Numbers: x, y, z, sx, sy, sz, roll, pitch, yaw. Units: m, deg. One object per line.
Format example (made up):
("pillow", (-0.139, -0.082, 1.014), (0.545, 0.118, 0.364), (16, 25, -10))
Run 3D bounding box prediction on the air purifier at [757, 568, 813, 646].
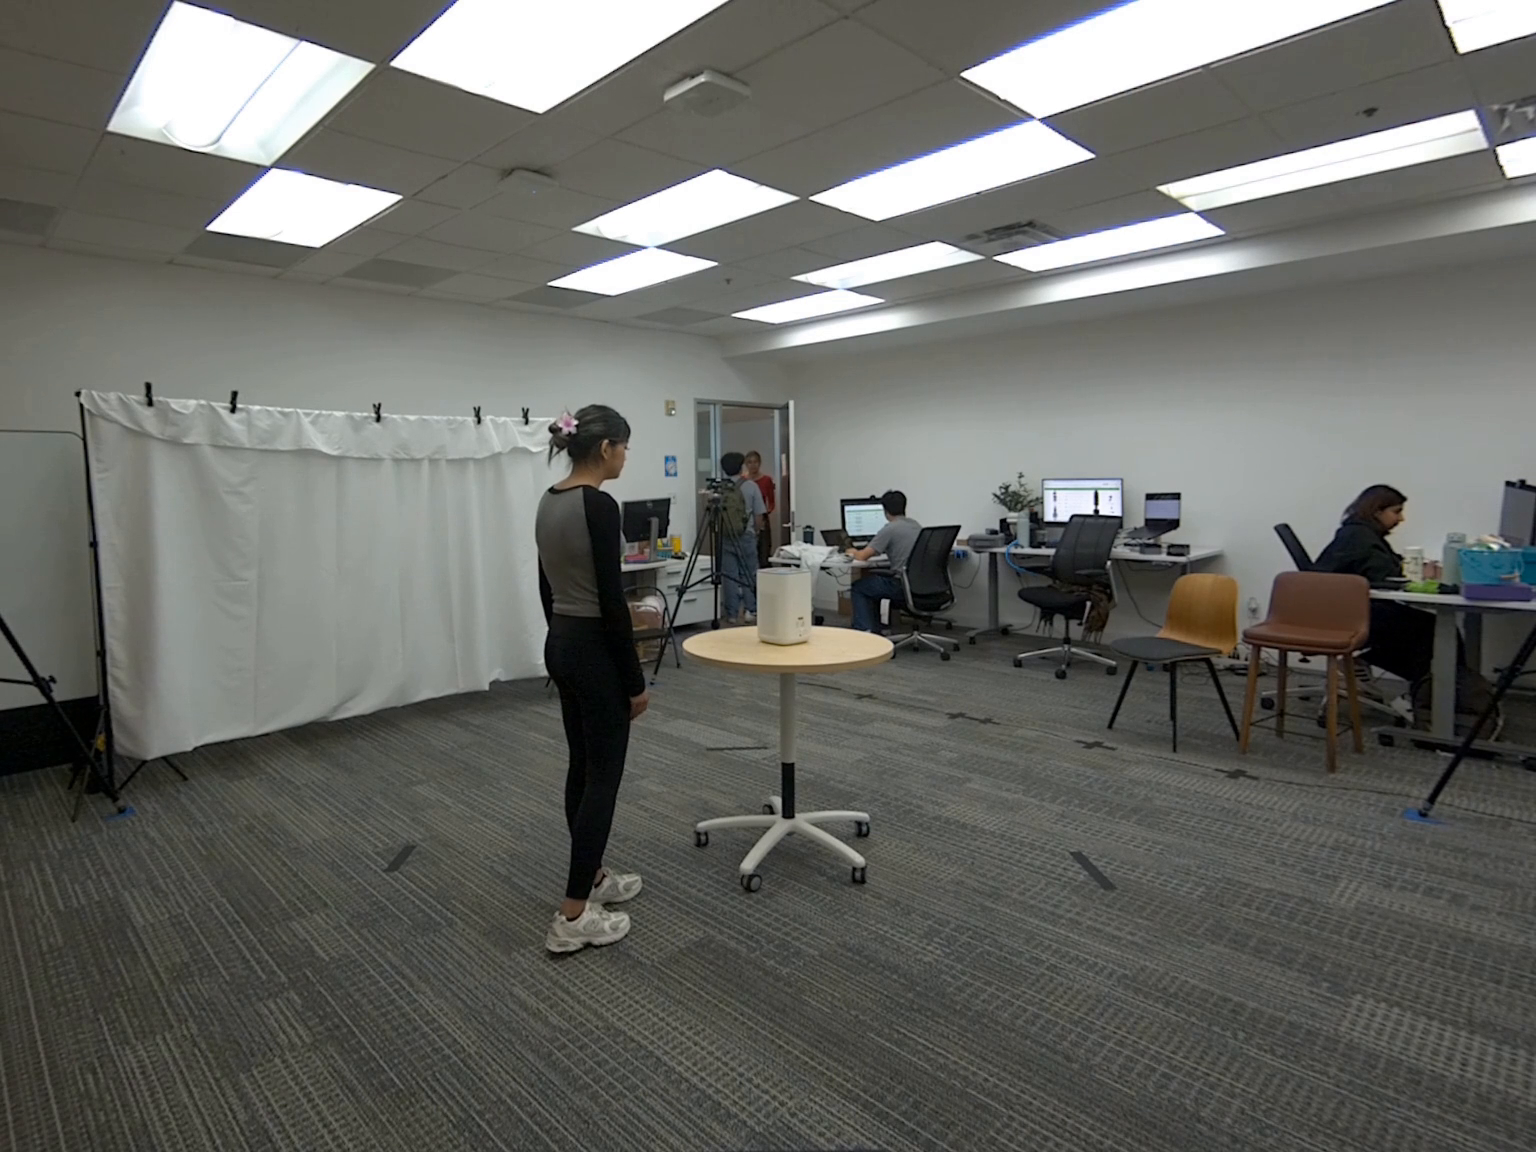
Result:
("air purifier", (0.059, 0.107, 3.146), (0.166, 0.264, 0.177), (-4, 6, -42))
